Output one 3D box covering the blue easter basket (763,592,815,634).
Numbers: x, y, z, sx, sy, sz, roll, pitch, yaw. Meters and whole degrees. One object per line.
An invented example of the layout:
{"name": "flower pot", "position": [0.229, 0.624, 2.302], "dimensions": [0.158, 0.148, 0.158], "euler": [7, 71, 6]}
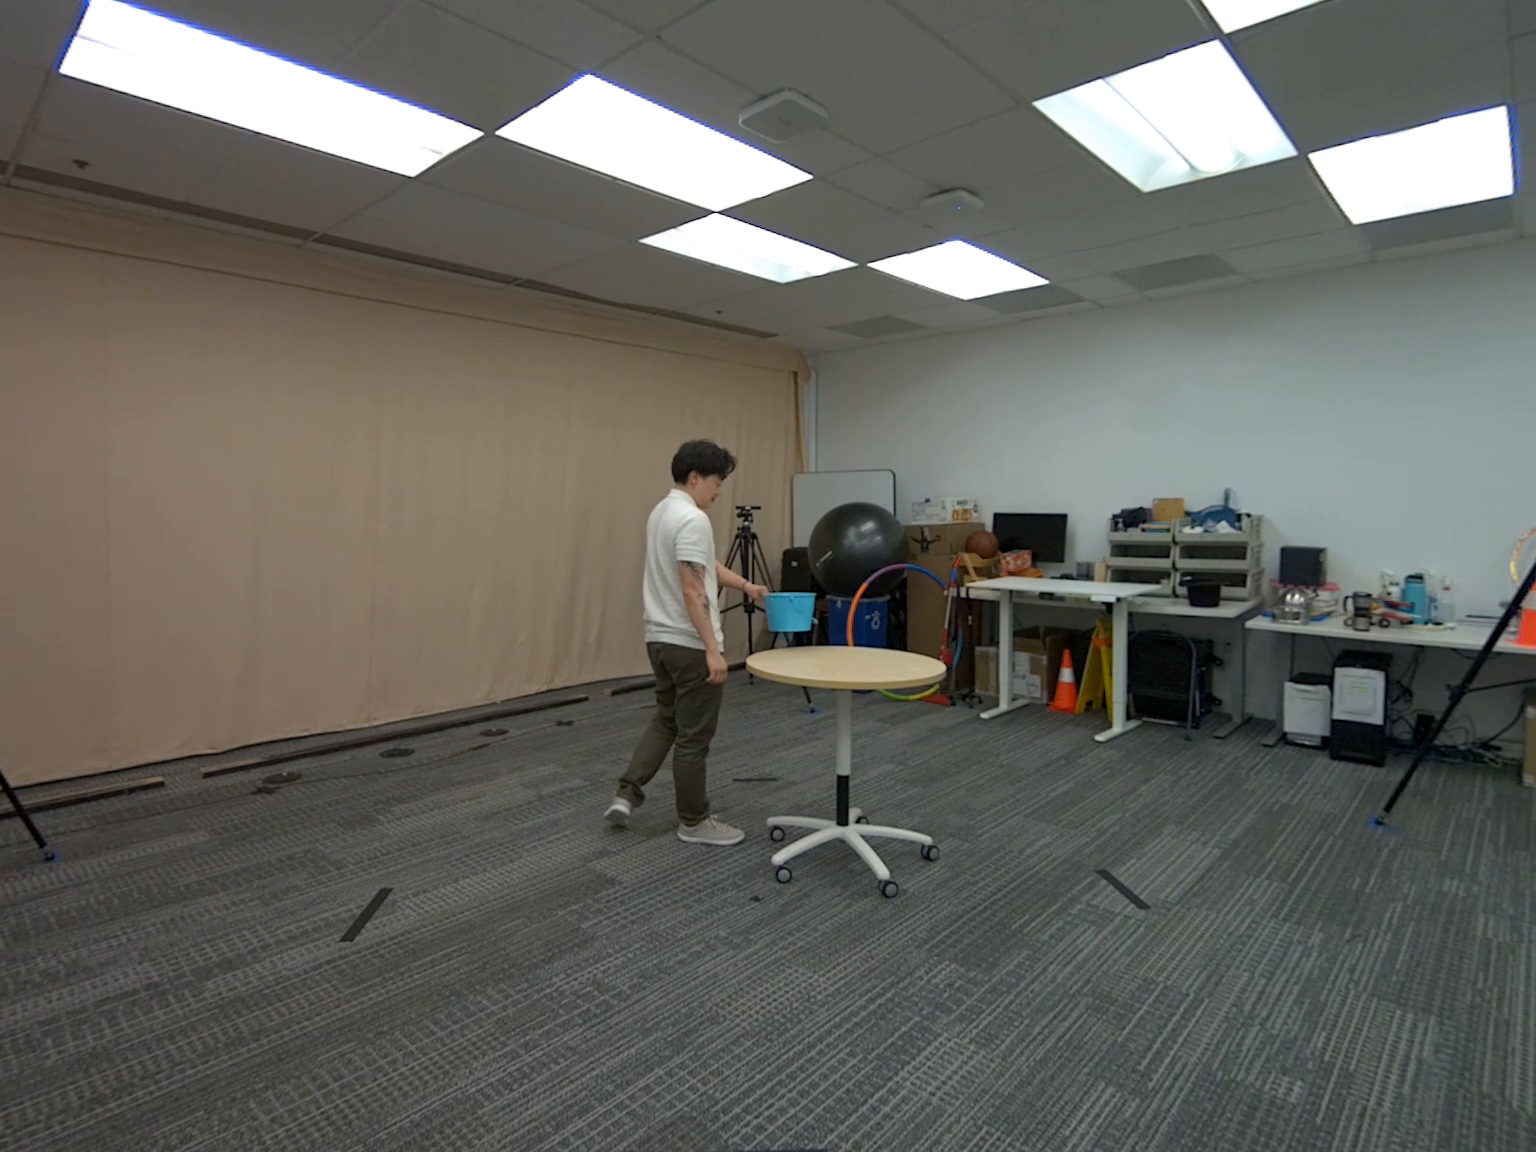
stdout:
{"name": "blue easter basket", "position": [0.093, 0.156, 3.616], "dimensions": [0.243, 0.156, 0.244], "euler": [-1, 1, -2]}
